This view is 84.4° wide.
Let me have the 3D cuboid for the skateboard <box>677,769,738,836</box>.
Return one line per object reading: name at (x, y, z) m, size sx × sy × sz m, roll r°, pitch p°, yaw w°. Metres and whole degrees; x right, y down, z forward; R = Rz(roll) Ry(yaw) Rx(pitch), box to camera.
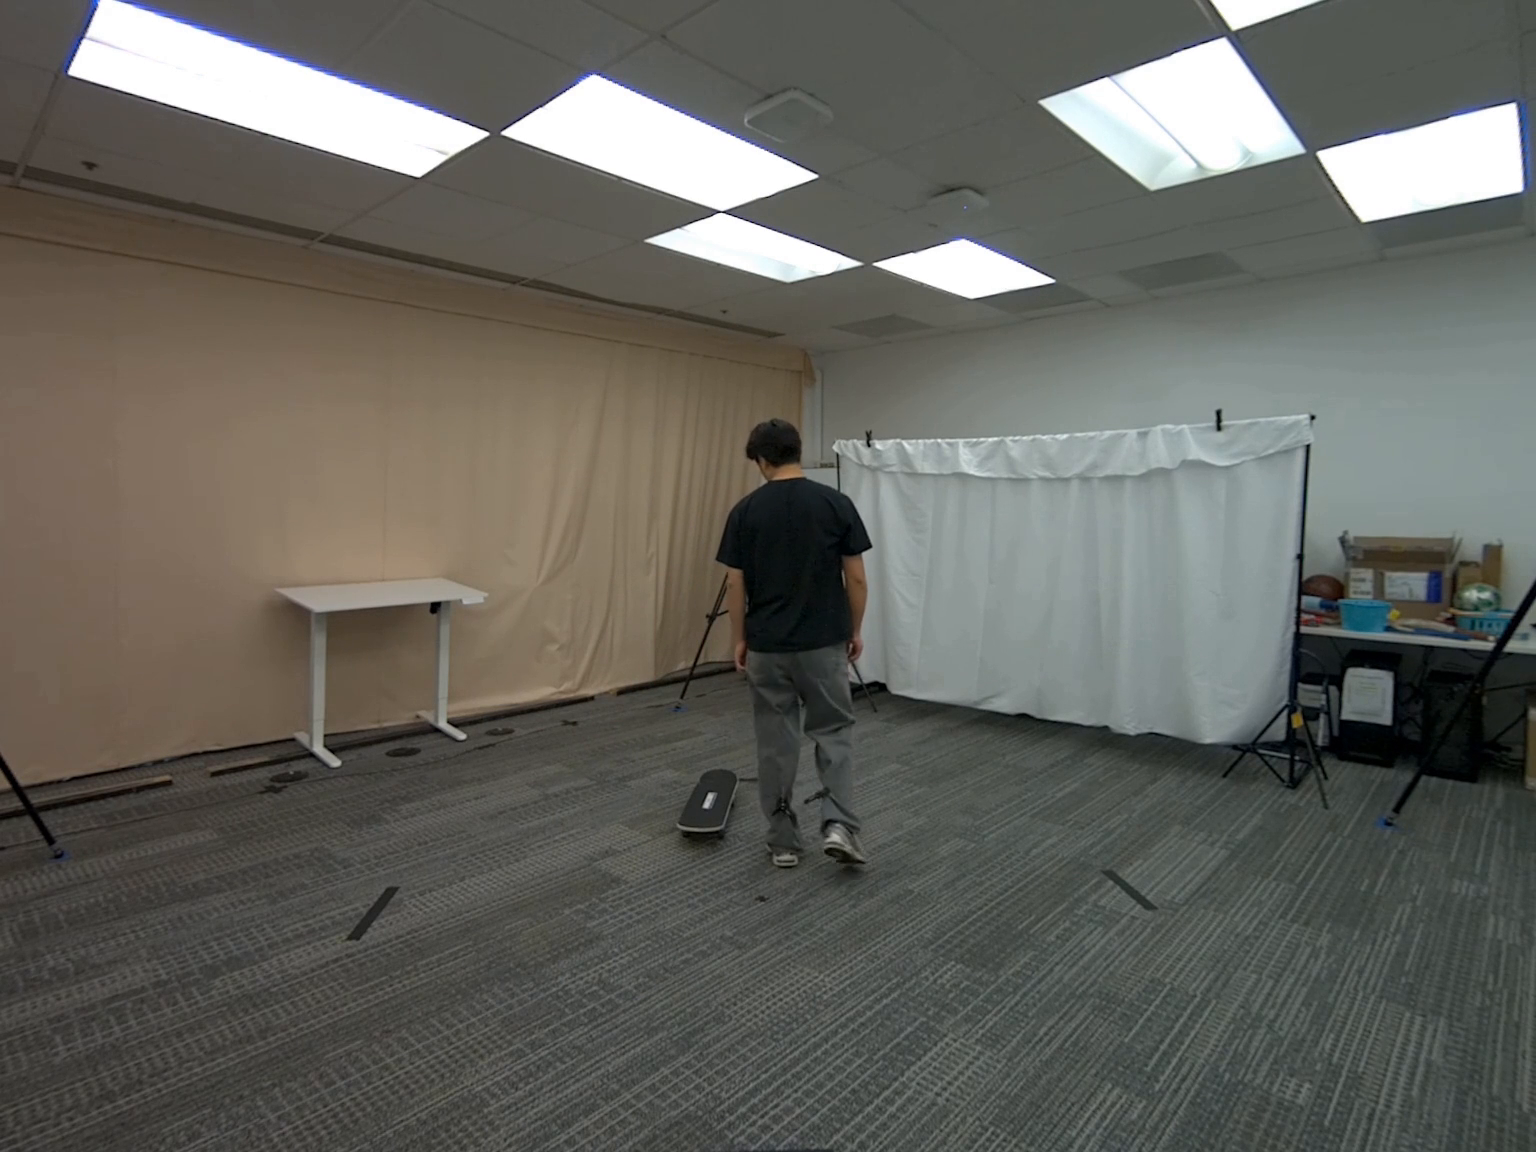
skateboard at (-0.257, 1.028, 3.738) m, size 0.195 × 0.110 × 0.782 m, roll -1°, pitch 5°, yaw 4°
